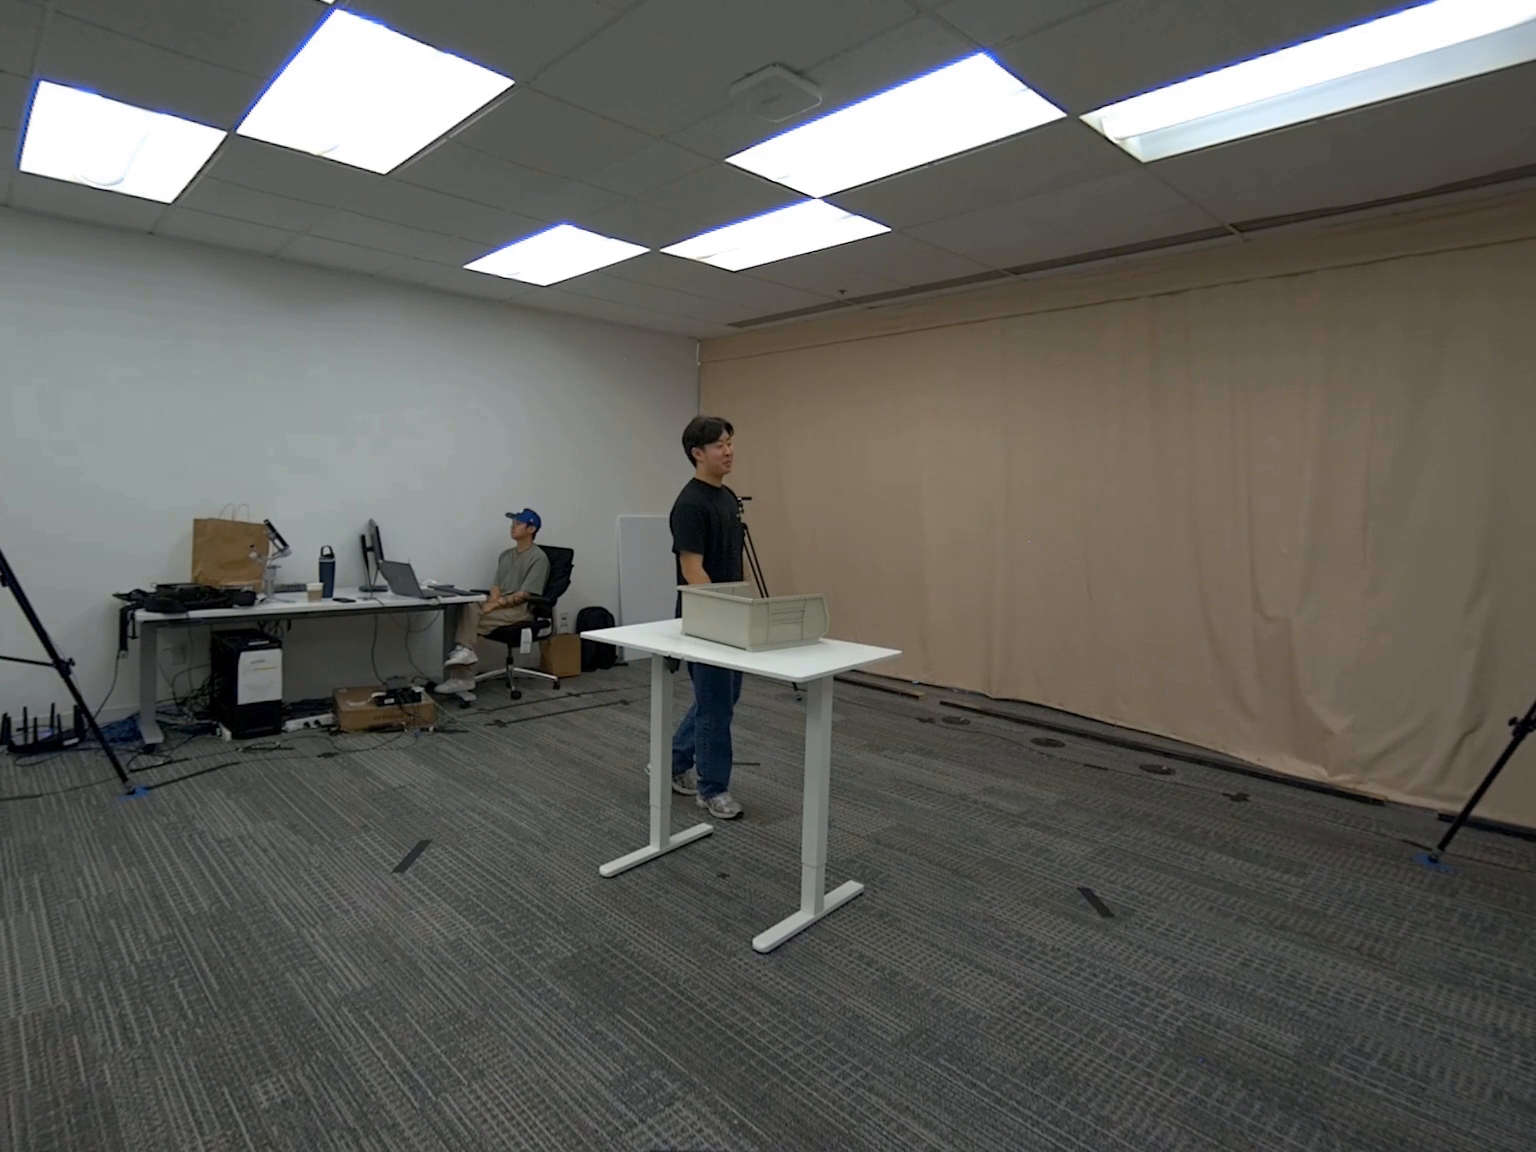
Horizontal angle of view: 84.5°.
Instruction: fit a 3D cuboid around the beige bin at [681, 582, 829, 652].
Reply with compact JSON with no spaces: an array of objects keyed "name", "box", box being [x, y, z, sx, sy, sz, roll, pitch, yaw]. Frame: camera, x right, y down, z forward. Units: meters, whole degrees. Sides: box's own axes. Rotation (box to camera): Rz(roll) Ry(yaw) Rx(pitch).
[{"name":"beige bin","box":[-0.060,0.142,3.054,0.369,0.188,0.433,-5,9,-41]}]
